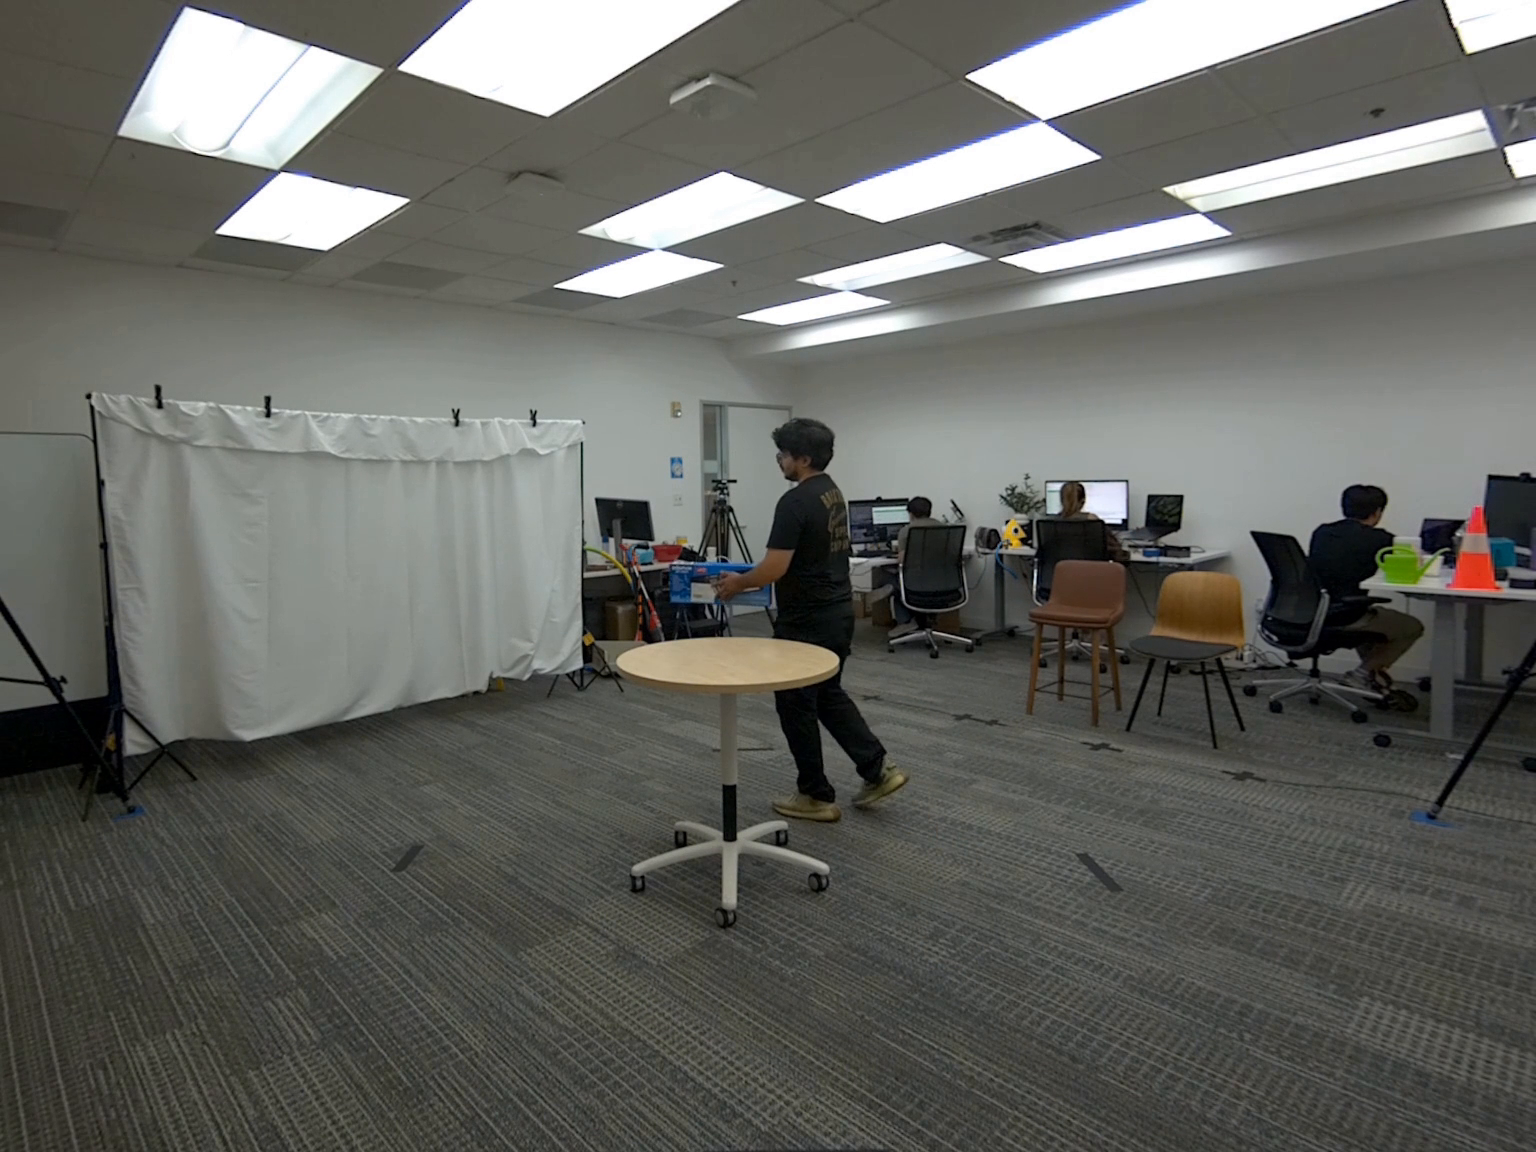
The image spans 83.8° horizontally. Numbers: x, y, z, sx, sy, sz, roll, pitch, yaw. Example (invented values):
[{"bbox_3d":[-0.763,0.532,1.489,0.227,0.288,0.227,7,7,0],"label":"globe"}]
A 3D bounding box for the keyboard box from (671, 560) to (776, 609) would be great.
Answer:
[{"bbox_3d":[-0.189,0.033,3.629,0.442,0.175,0.058,3,4,11],"label":"keyboard box"}]
